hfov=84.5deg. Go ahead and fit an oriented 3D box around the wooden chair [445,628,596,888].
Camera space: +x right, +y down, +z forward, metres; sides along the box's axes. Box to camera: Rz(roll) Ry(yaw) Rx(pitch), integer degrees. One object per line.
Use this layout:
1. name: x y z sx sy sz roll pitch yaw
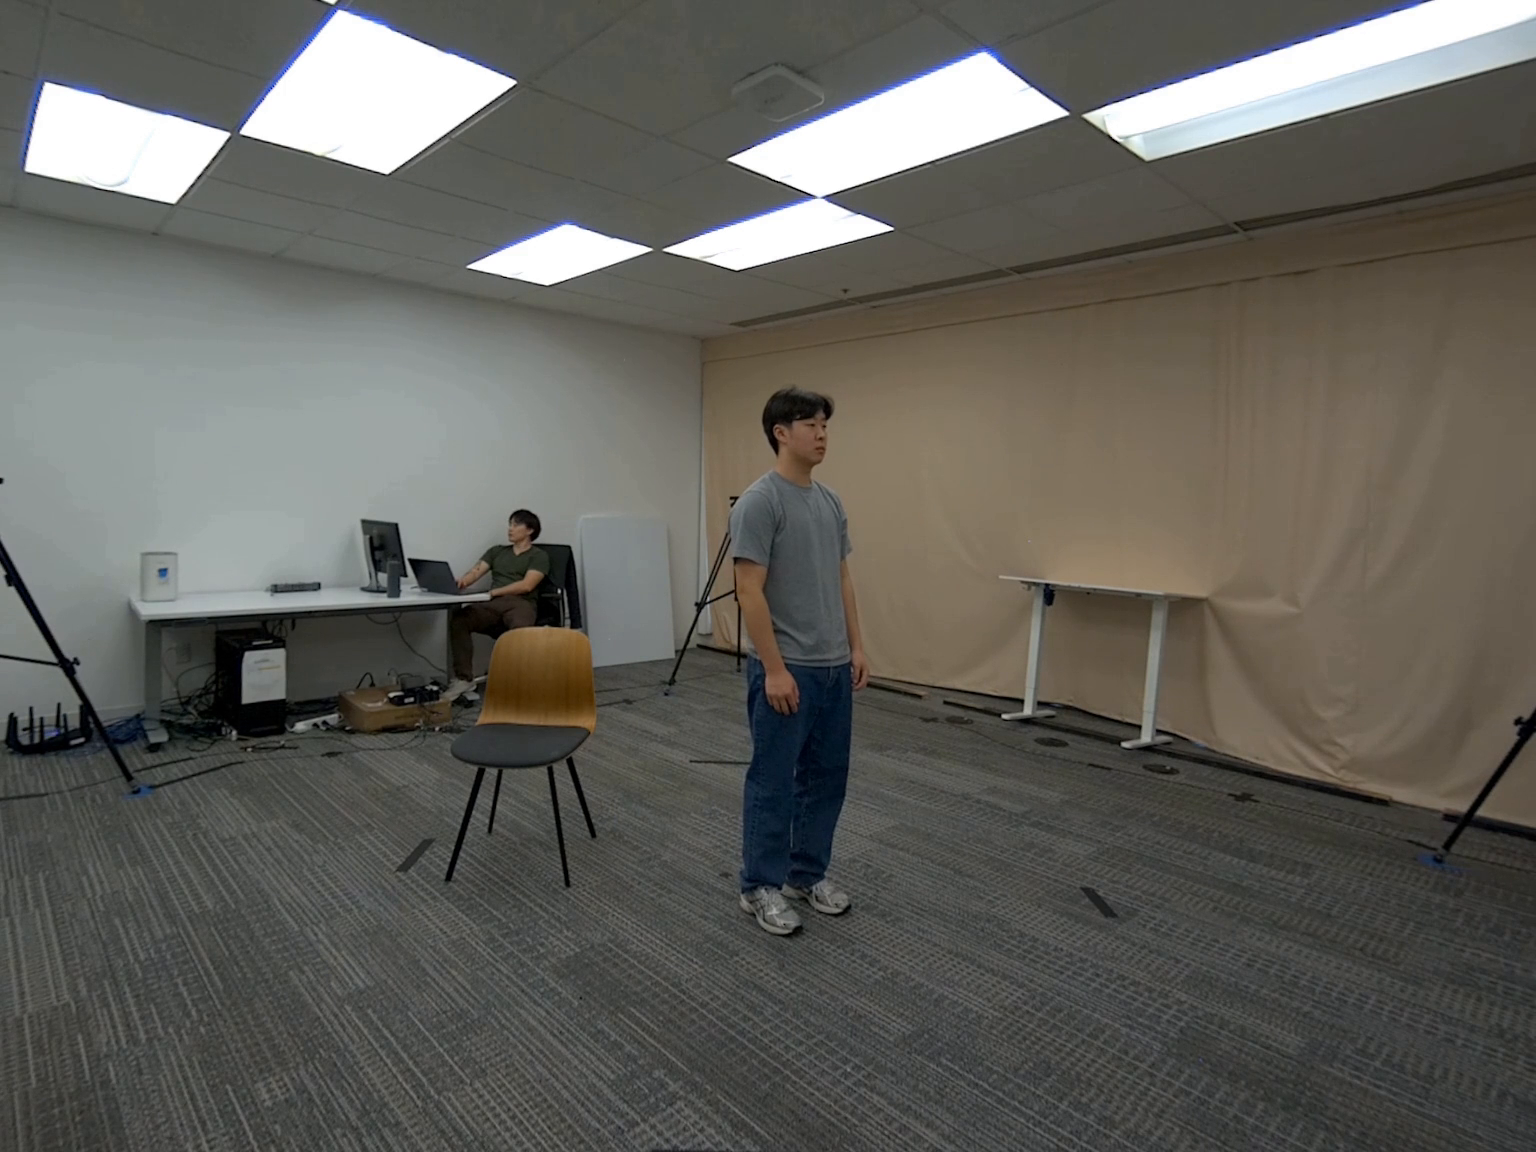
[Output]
1. wooden chair: -0.919 0.656 3.180 0.479 0.877 0.522 2 0 1
